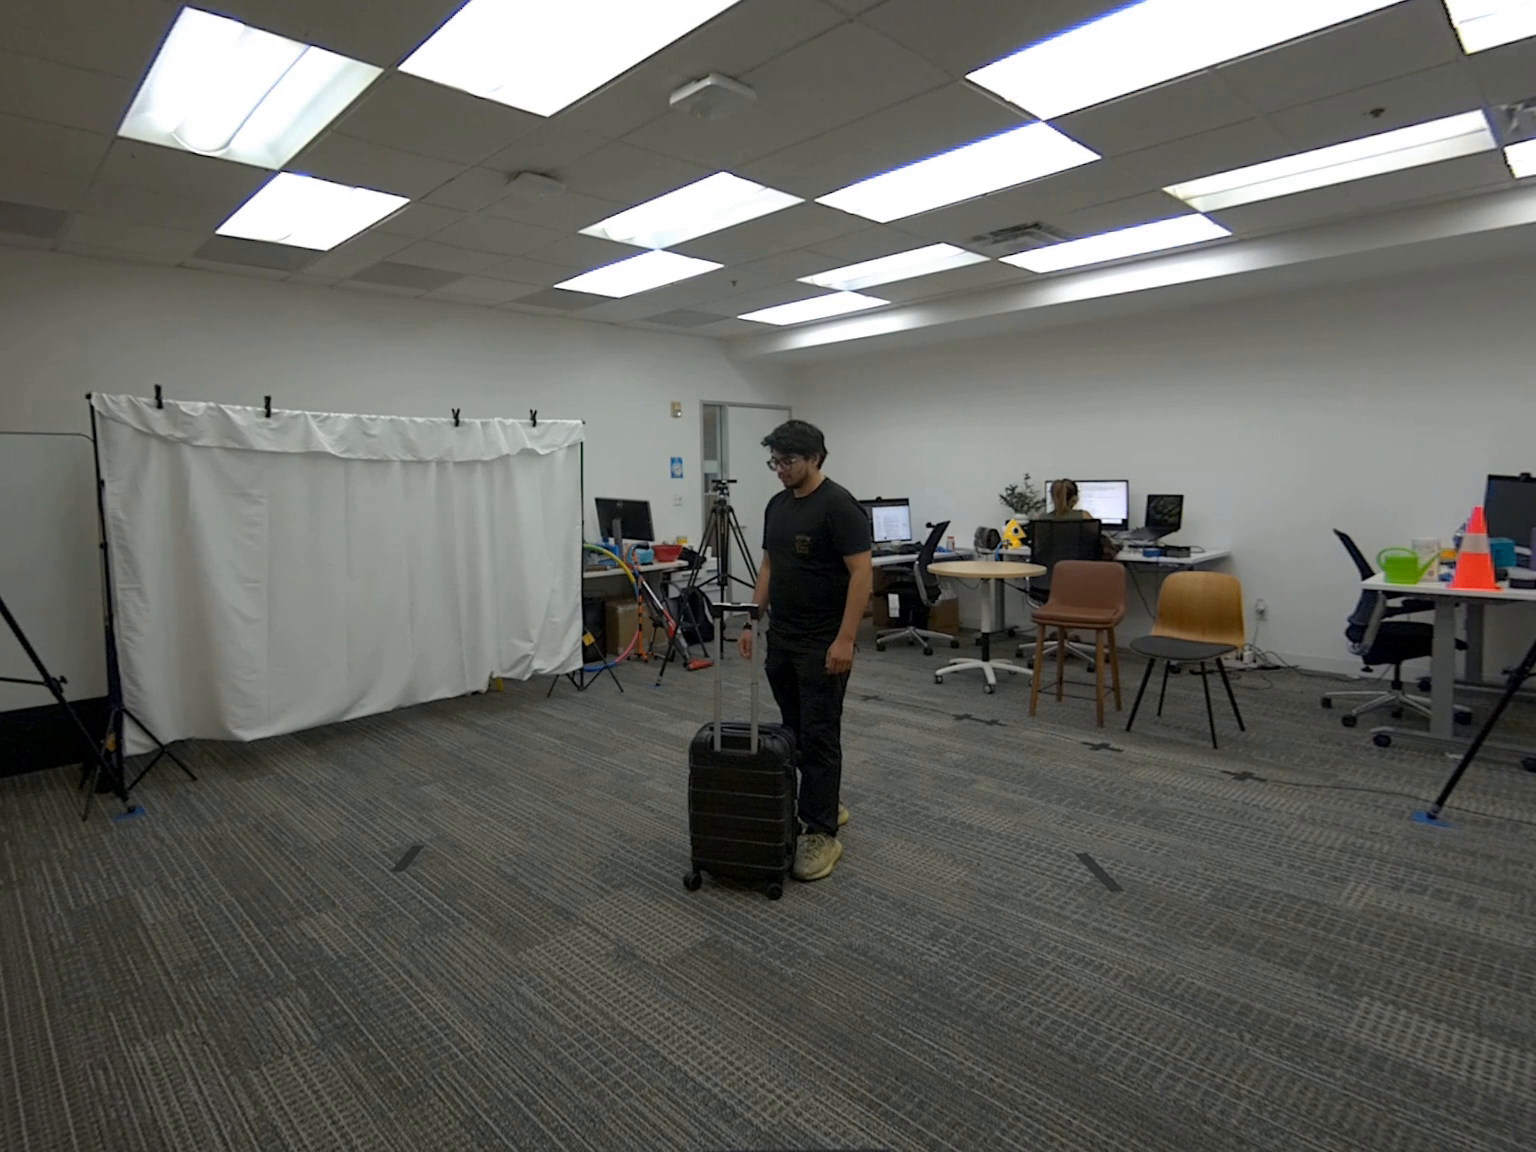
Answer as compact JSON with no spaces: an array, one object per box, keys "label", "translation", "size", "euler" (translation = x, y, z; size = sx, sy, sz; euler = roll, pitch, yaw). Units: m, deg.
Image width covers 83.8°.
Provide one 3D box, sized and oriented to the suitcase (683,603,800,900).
[{"label":"suitcase","translation":[-0.088,0.588,2.978],"size":[0.390,0.978,0.253],"euler":[1,0,16]}]
